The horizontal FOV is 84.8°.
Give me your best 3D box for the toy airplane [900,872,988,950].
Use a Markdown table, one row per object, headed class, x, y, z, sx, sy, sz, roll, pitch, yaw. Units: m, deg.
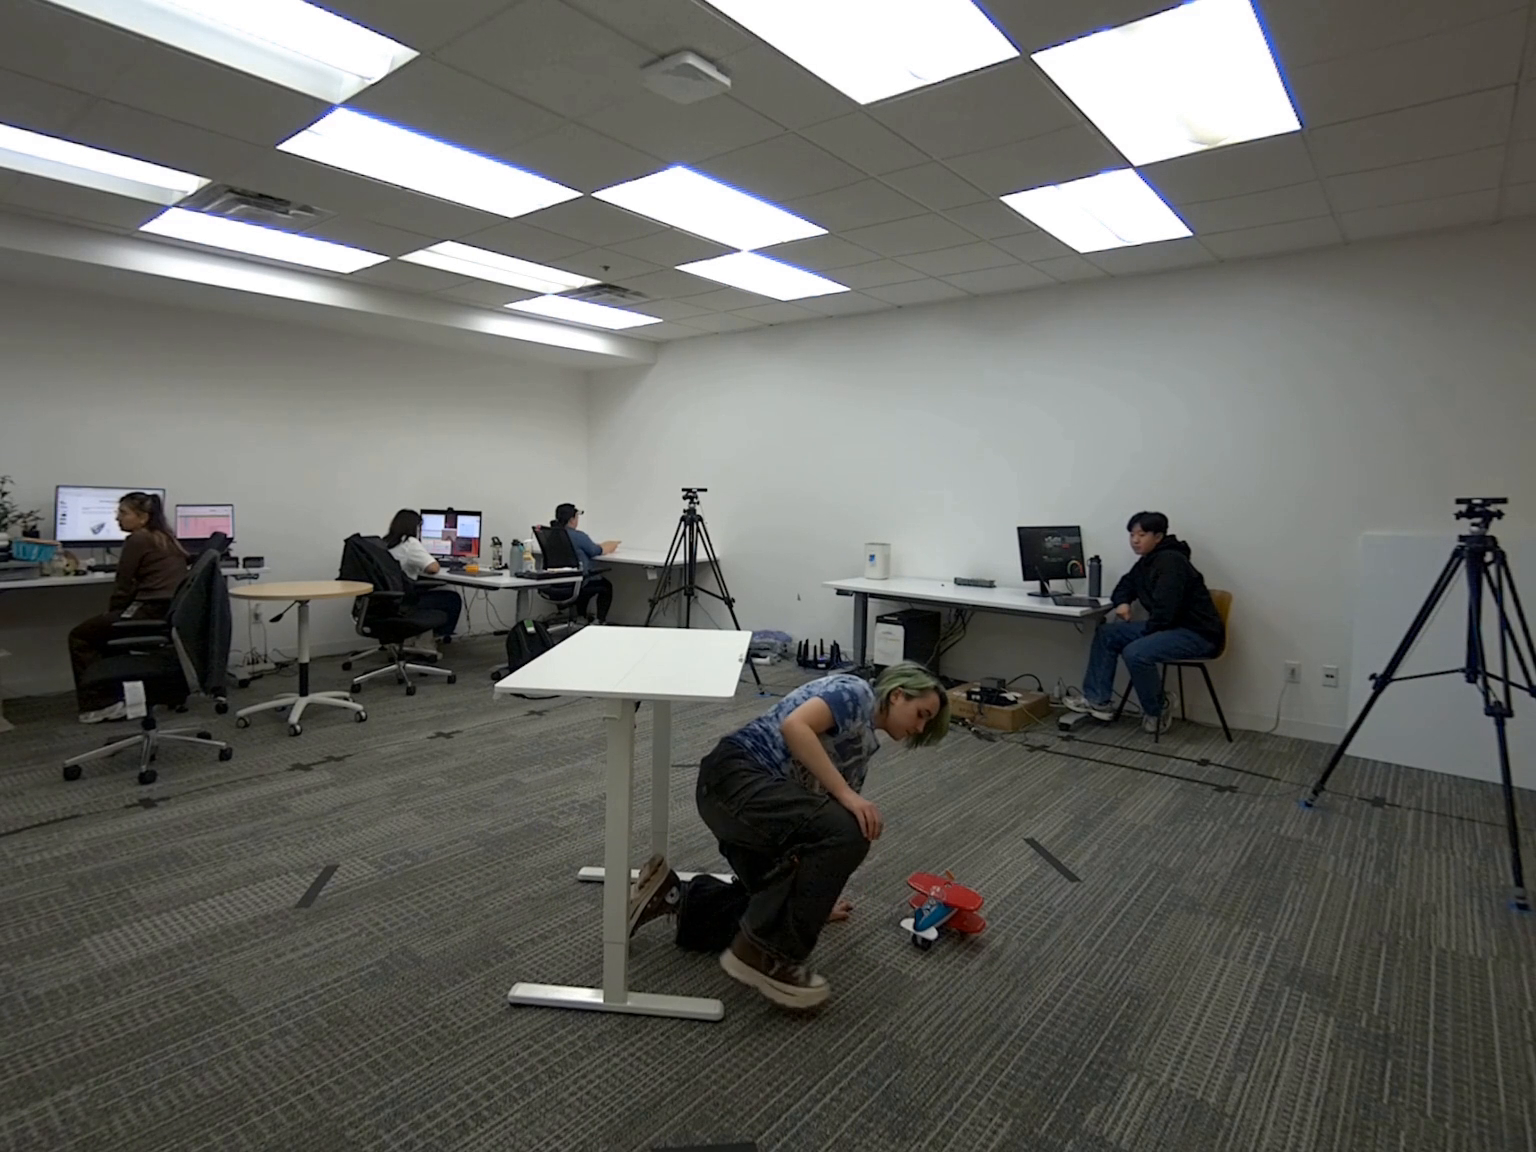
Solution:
| class | x | y | z | sx | sy | sz | roll | pitch | yaw |
| --- | --- | --- | --- | --- | --- | --- | --- | --- | --- |
| toy airplane | 0.544 | 1.060 | 2.656 | 0.256 | 0.156 | 0.255 | 3 | 4 | 18 |
